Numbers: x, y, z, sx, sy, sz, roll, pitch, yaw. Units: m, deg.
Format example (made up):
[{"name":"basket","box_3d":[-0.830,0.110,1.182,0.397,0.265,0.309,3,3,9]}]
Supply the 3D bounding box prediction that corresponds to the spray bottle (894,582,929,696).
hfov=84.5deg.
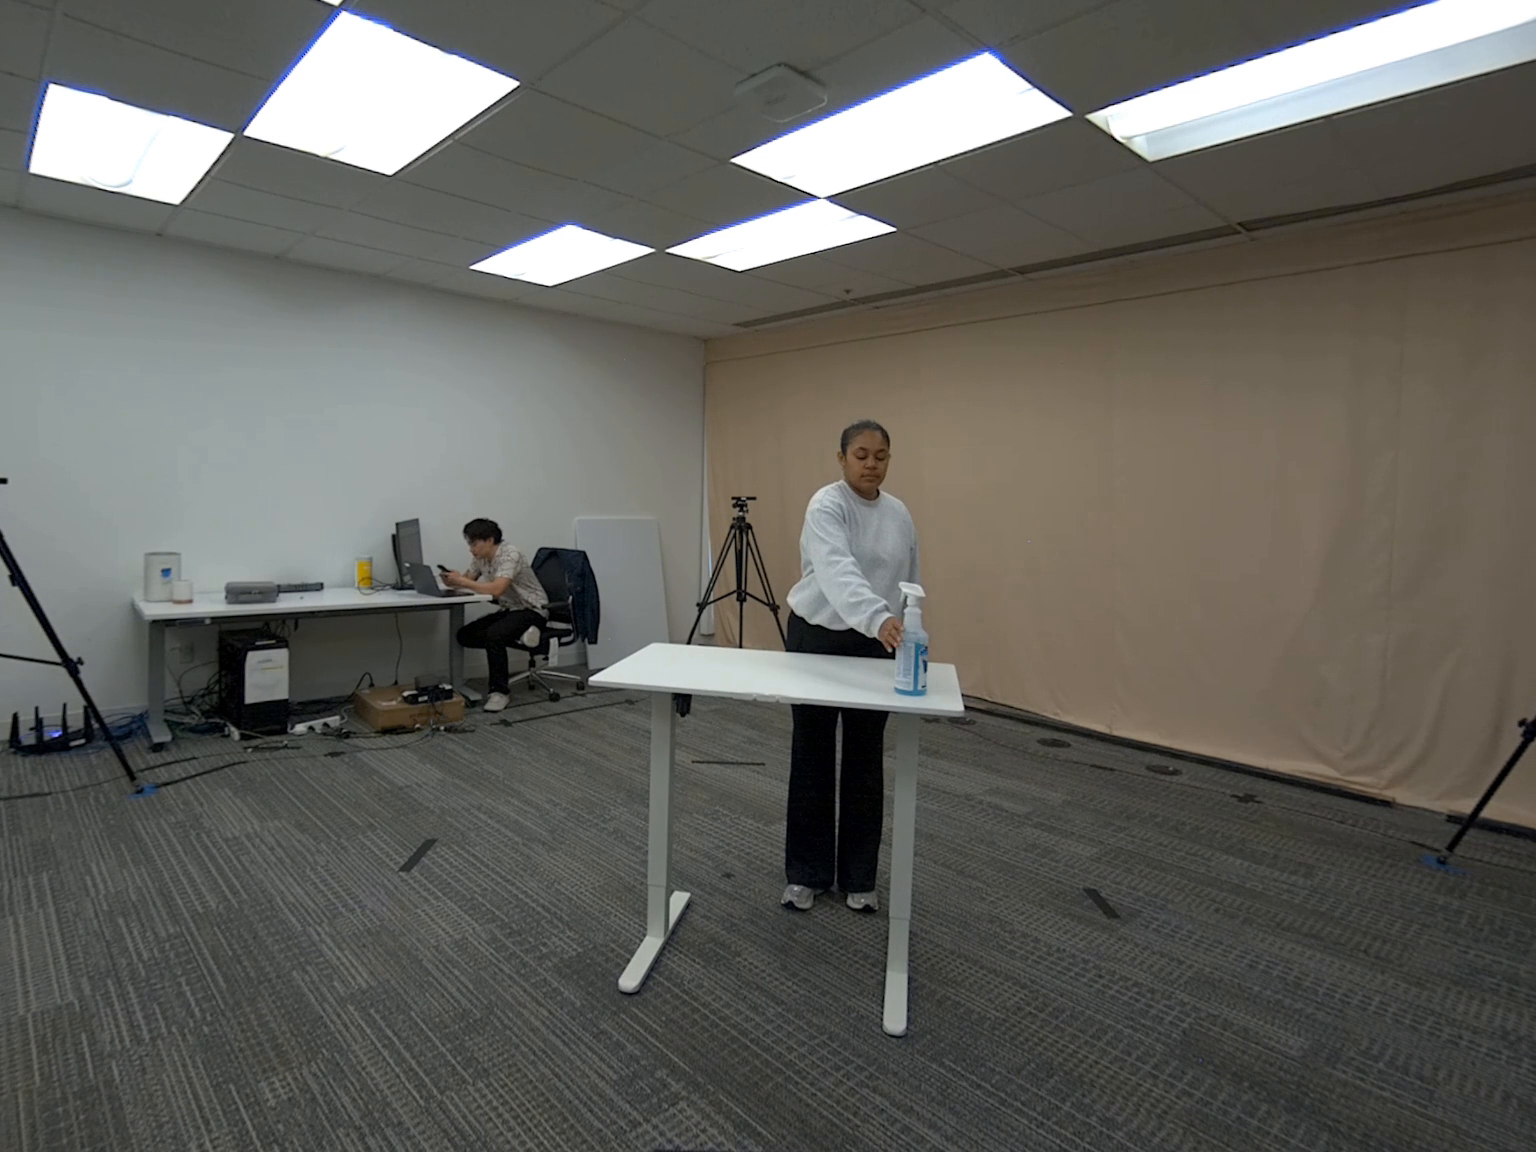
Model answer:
[{"name":"spray bottle","box_3d":[0.385,0.172,2.266,0.086,0.297,0.091,-1,2,-9]}]
